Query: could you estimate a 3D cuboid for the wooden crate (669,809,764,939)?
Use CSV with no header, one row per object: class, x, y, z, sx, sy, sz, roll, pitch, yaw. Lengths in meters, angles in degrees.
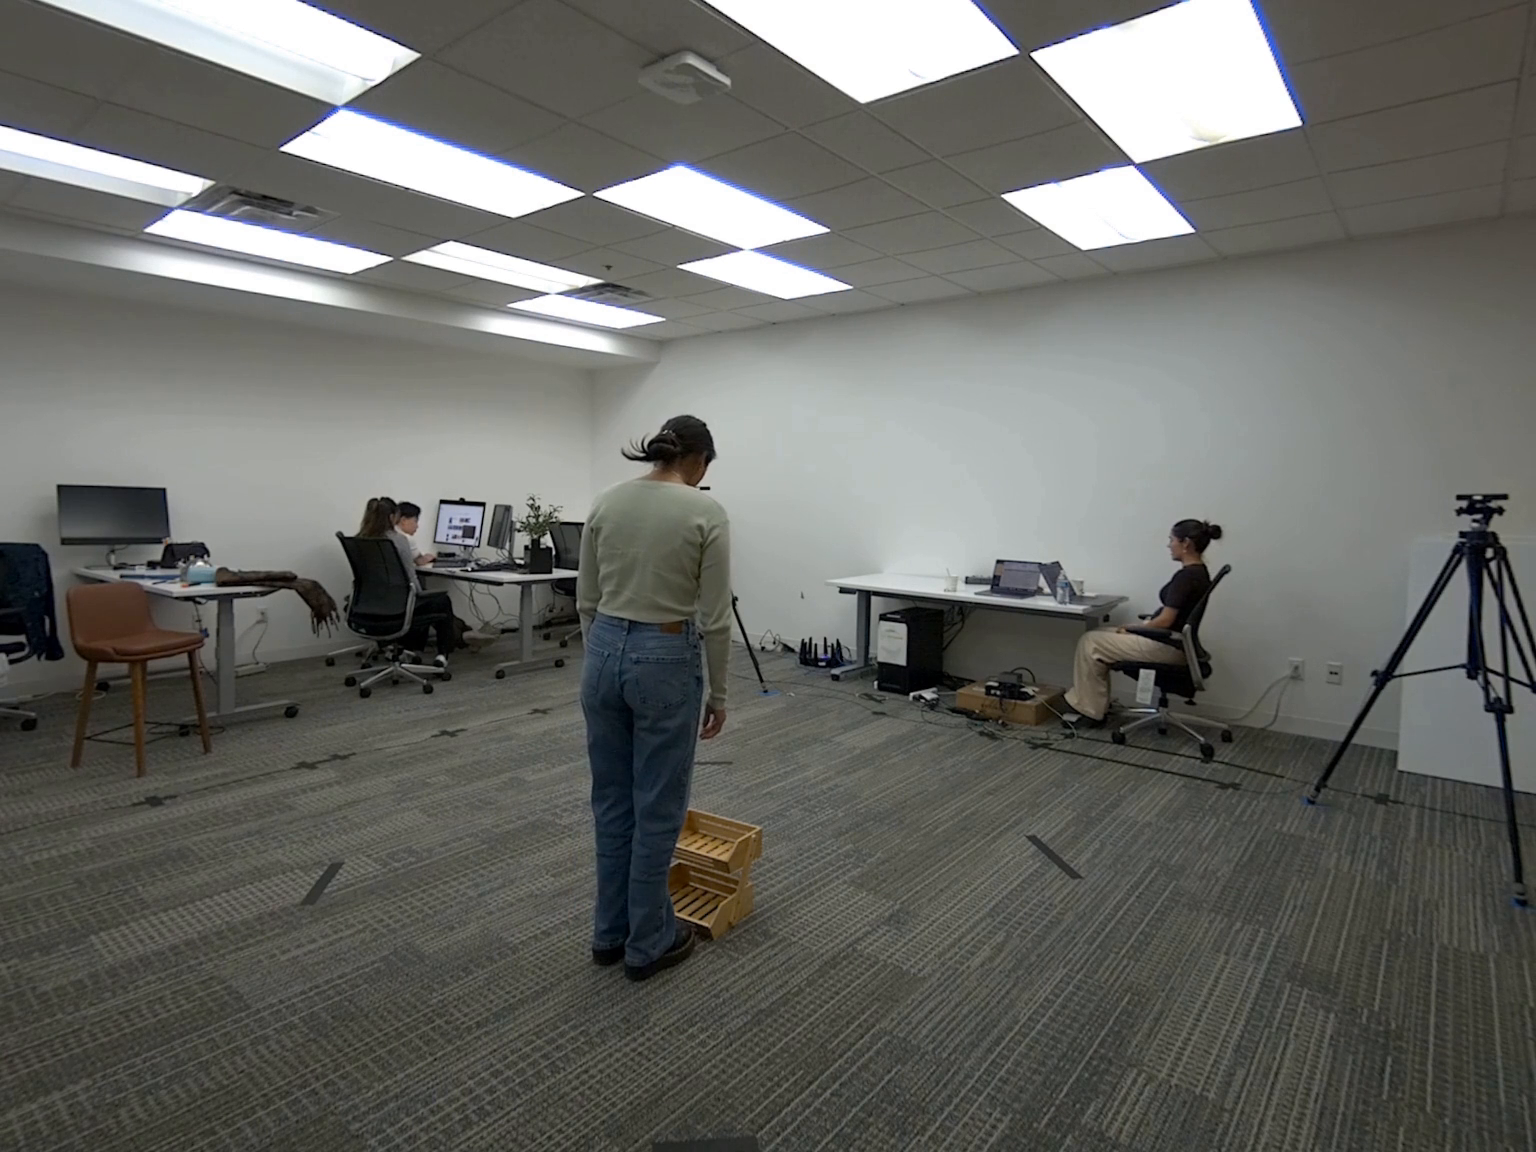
wooden crate,-0.234,0.963,2.793,0.334,0.273,0.294,3,4,32
